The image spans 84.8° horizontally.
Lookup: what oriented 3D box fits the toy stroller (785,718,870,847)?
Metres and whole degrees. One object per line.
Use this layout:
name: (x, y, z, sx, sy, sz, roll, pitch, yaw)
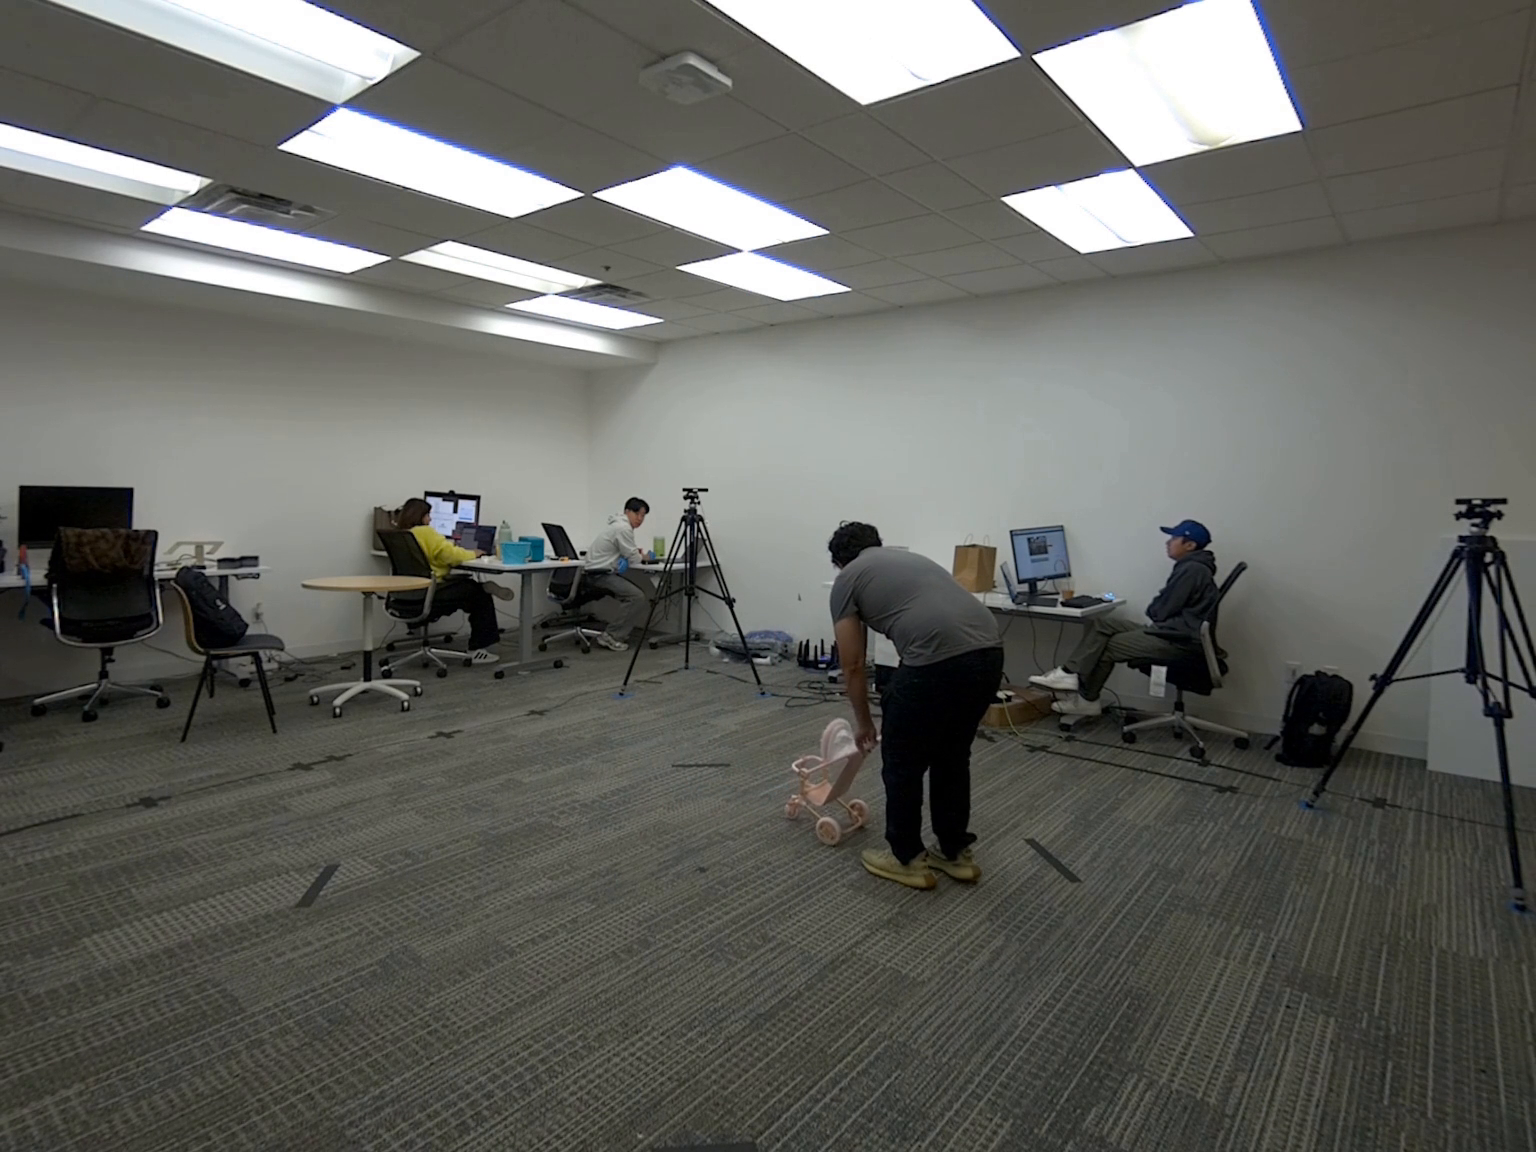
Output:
toy stroller: (0.253, 0.817, 3.481, 0.355, 0.530, 0.273, 24, 17, 37)
